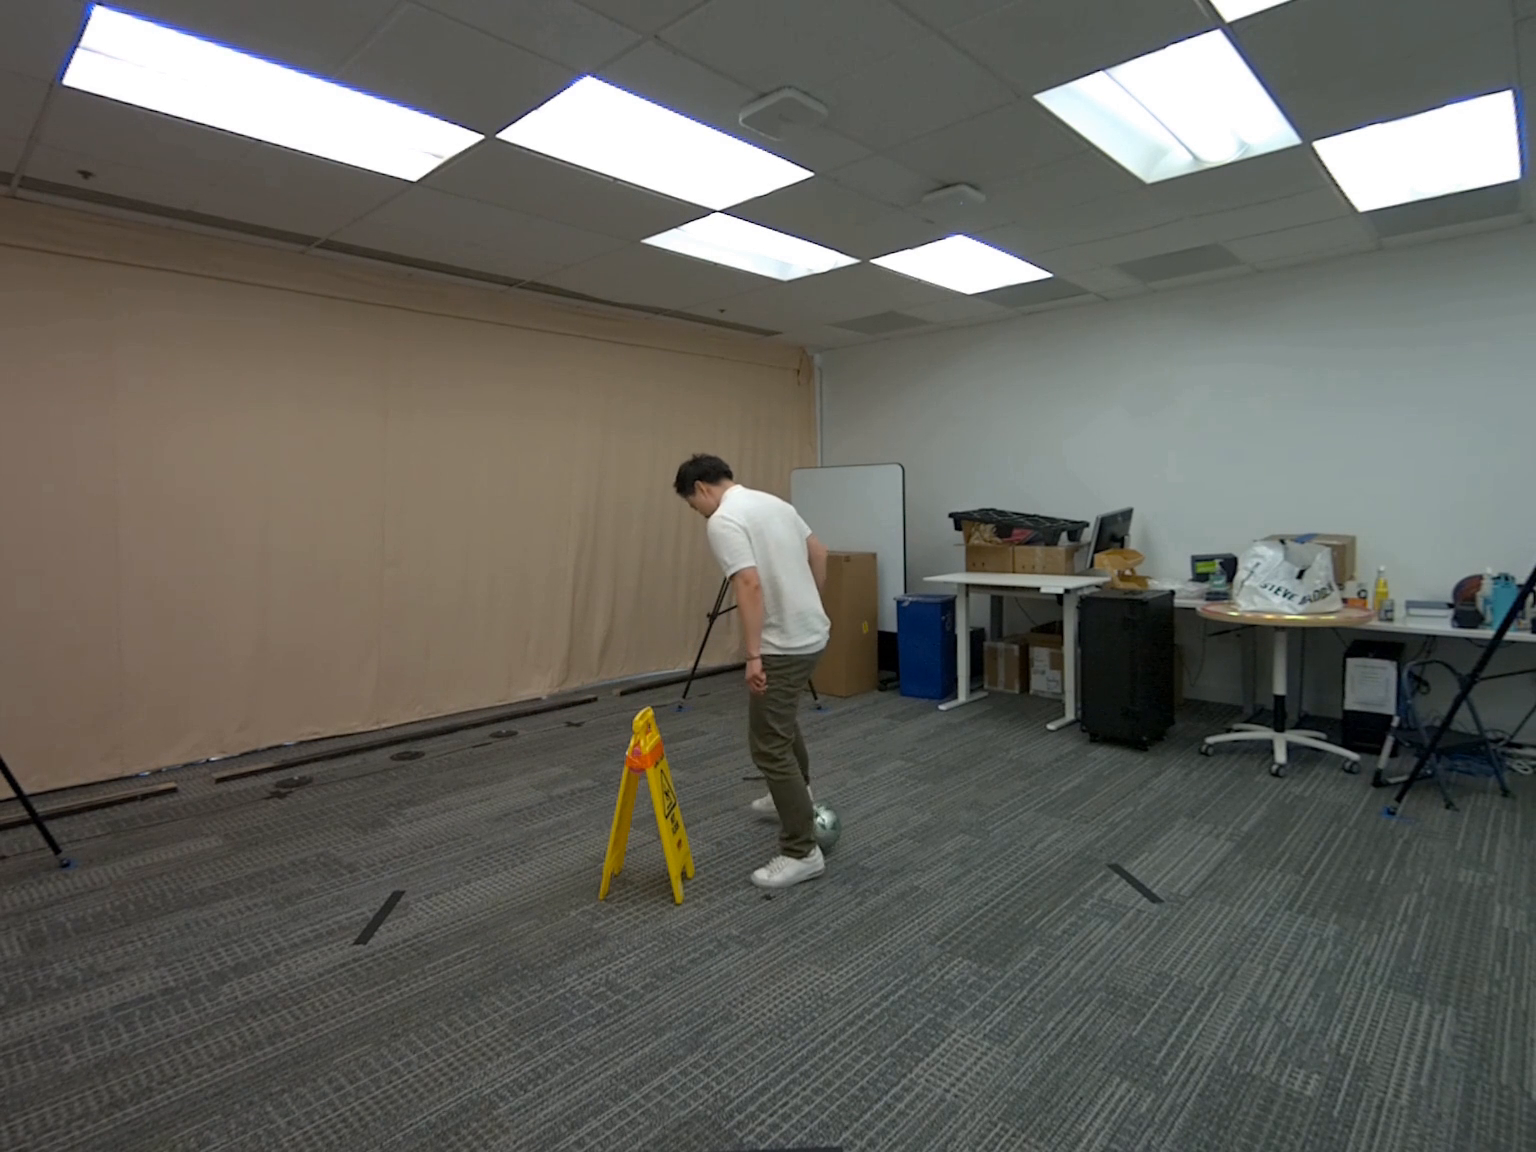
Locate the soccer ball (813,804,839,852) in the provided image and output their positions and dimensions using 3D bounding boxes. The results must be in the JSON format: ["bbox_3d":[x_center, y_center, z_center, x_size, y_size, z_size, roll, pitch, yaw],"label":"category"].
[{"bbox_3d":[0.195,0.994,3.339,0.187,0.187,0.188,-1,4,-2],"label":"soccer ball"}]
